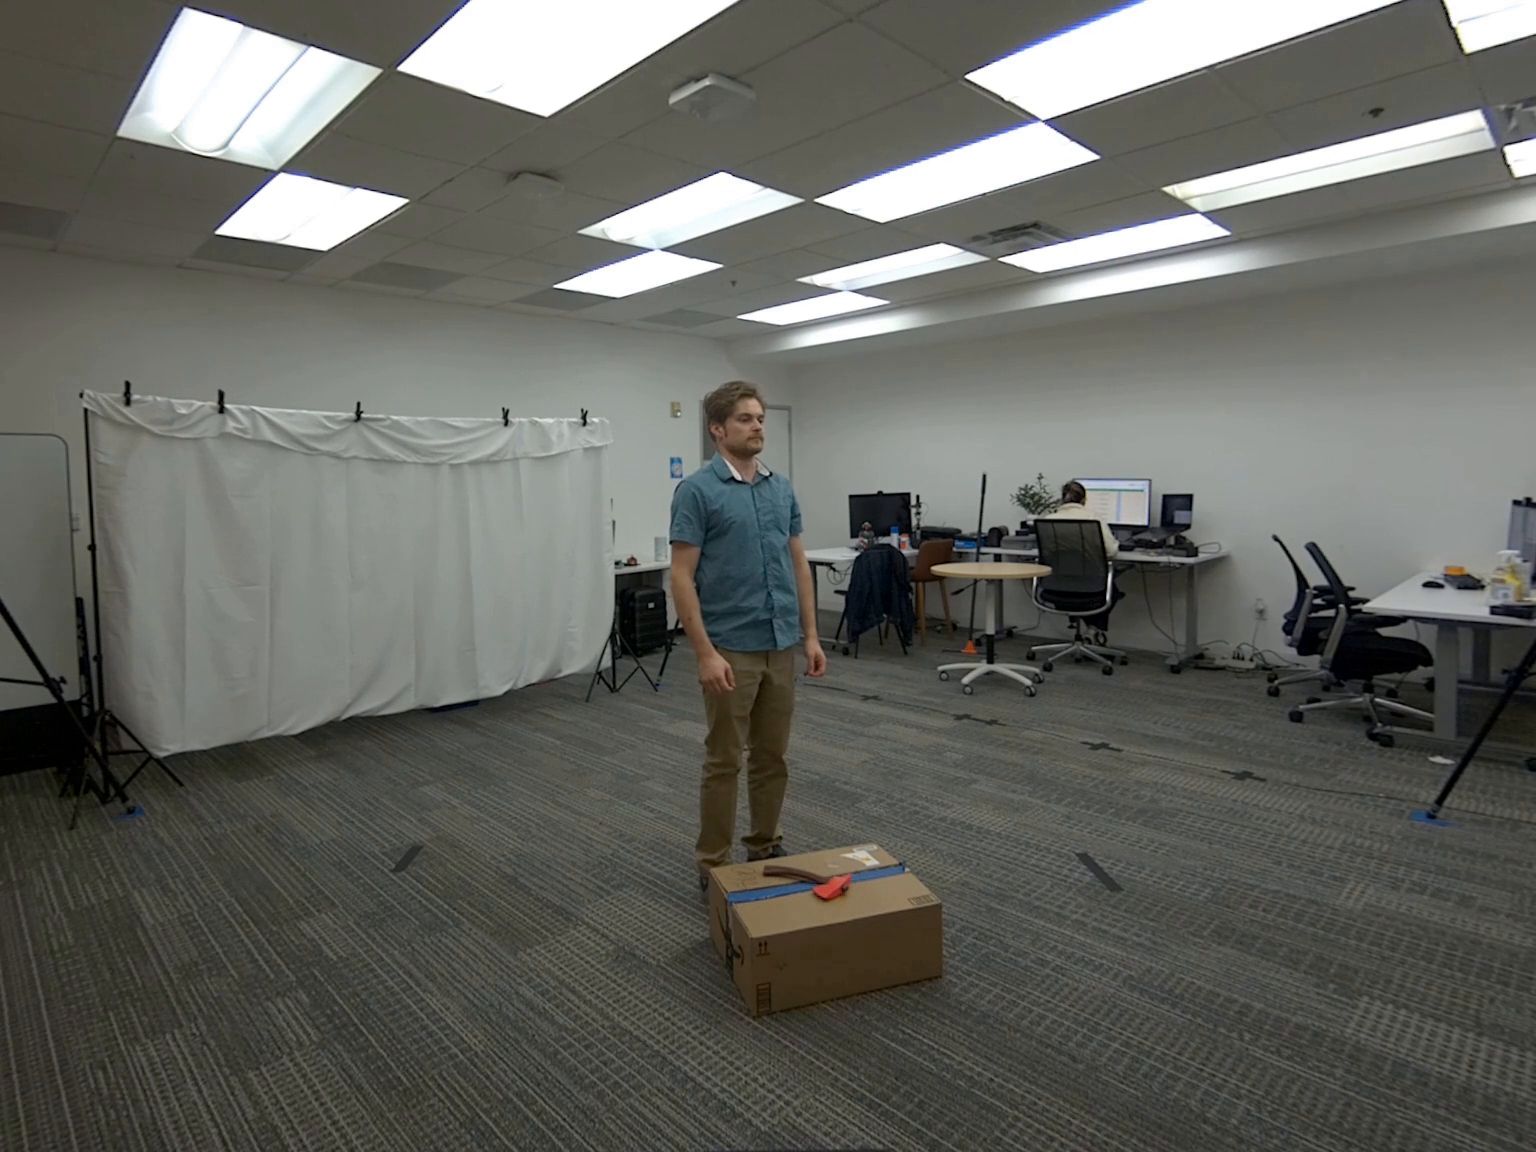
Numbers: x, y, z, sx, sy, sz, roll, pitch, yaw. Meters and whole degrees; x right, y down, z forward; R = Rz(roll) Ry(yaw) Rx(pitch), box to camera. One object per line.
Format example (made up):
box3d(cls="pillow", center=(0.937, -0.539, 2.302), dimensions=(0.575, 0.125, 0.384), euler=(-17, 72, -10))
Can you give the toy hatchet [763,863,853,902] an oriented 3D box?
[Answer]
box3d(cls="toy hatchet", center=(0.104, 0.883, 2.479), dimensions=(0.275, 0.029, 0.129), euler=(-2, 11, 23))
